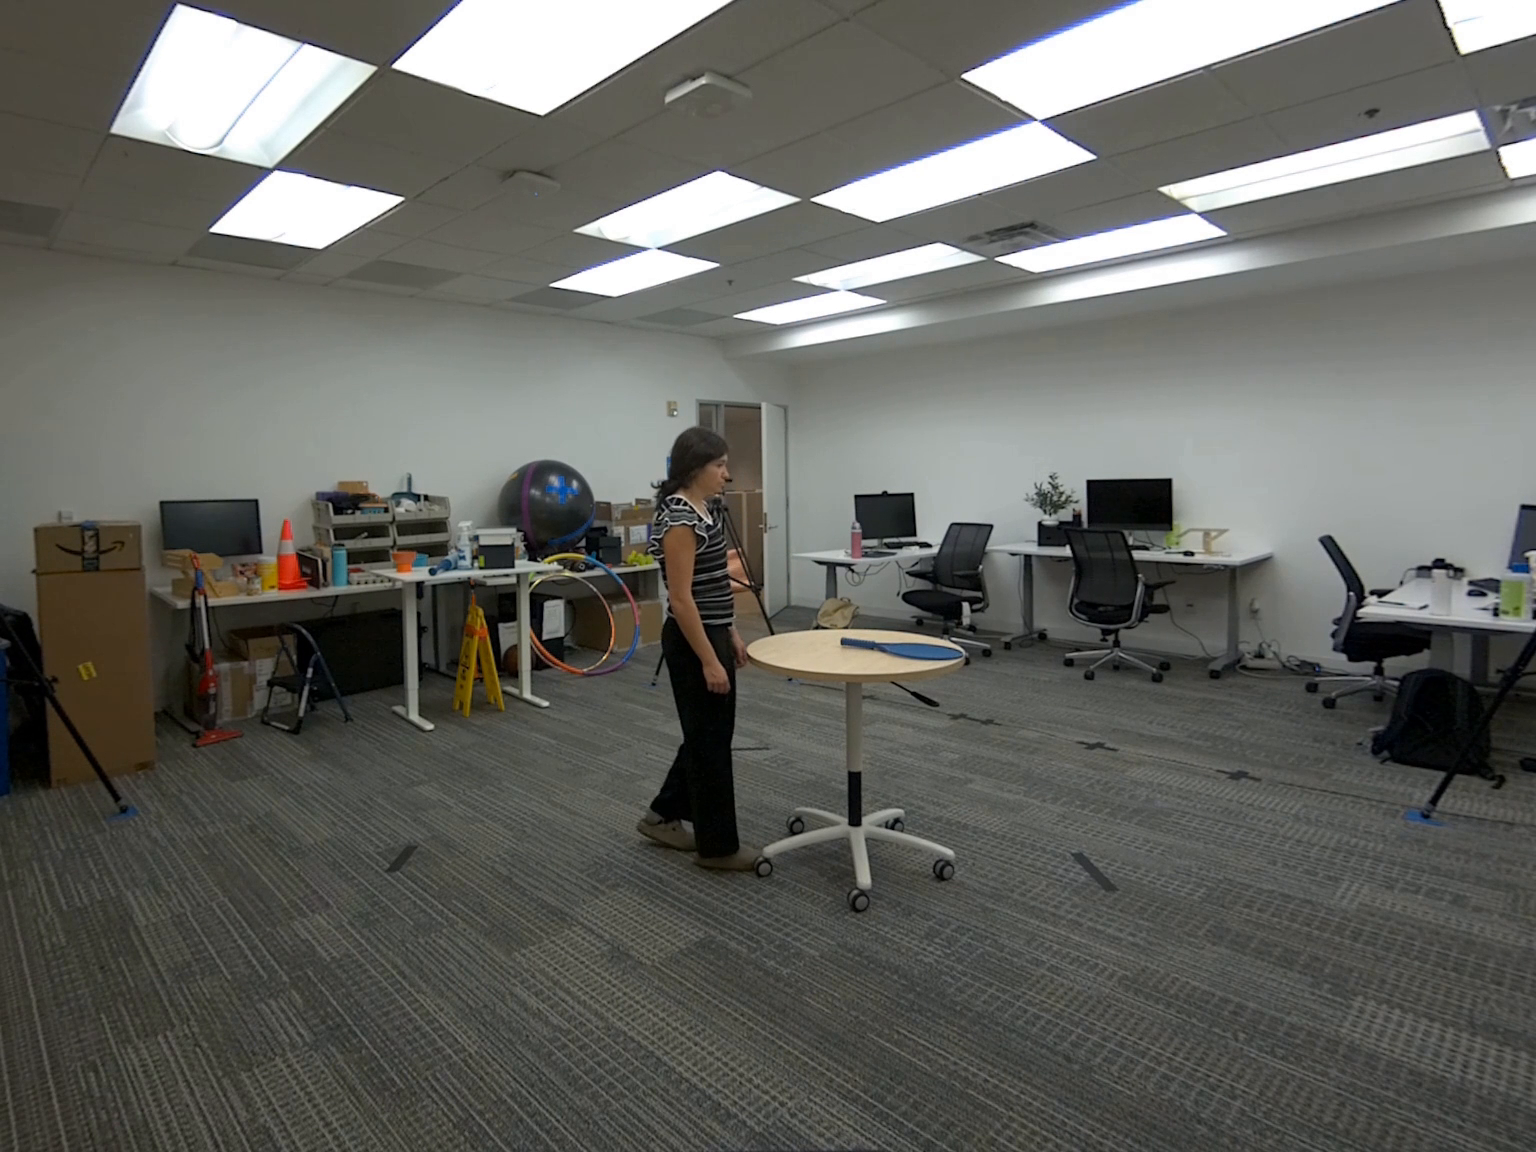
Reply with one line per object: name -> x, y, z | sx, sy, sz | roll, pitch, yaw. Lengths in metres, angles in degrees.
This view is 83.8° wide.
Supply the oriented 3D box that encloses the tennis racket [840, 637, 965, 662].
tennis racket -> 0.466, 0.255, 2.994 | 0.443, 0.031, 0.210 | 4, 7, 24
